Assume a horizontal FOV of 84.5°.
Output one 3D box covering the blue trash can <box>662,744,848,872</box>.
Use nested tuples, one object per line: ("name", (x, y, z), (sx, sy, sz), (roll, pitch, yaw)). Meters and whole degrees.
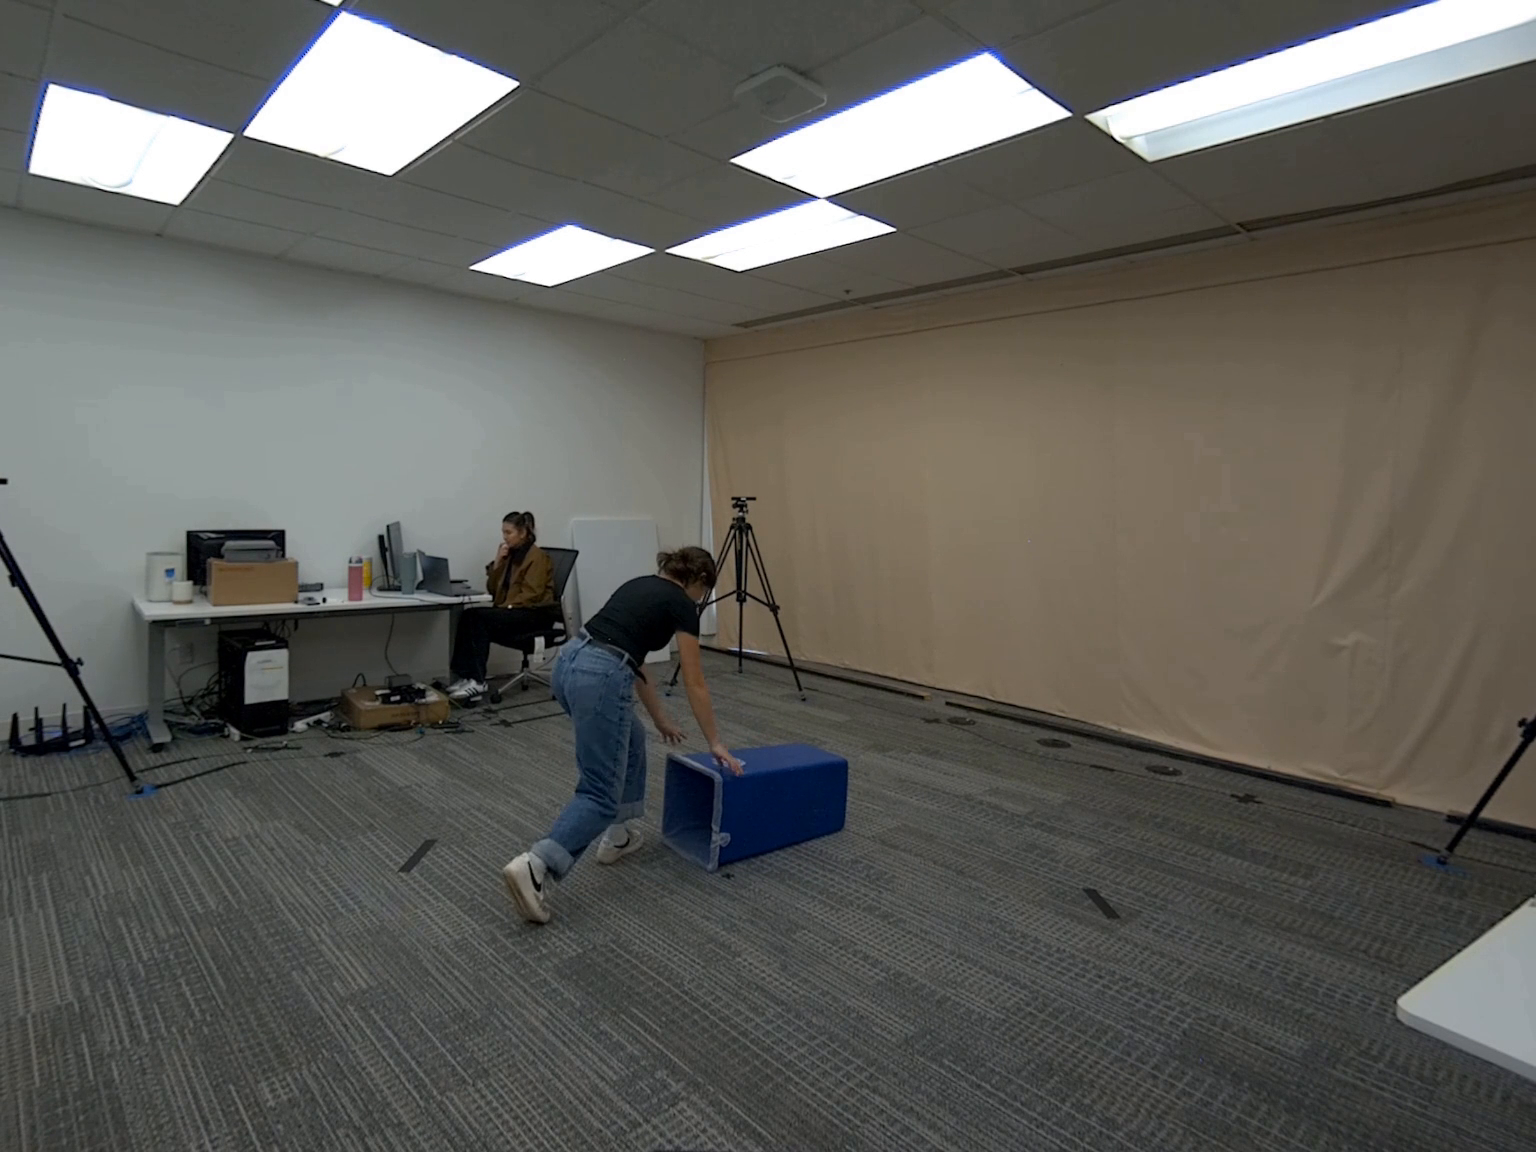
("blue trash can", (-0.047, 0.911, 3.470), (0.696, 0.378, 0.383), (2, 2, -39))
